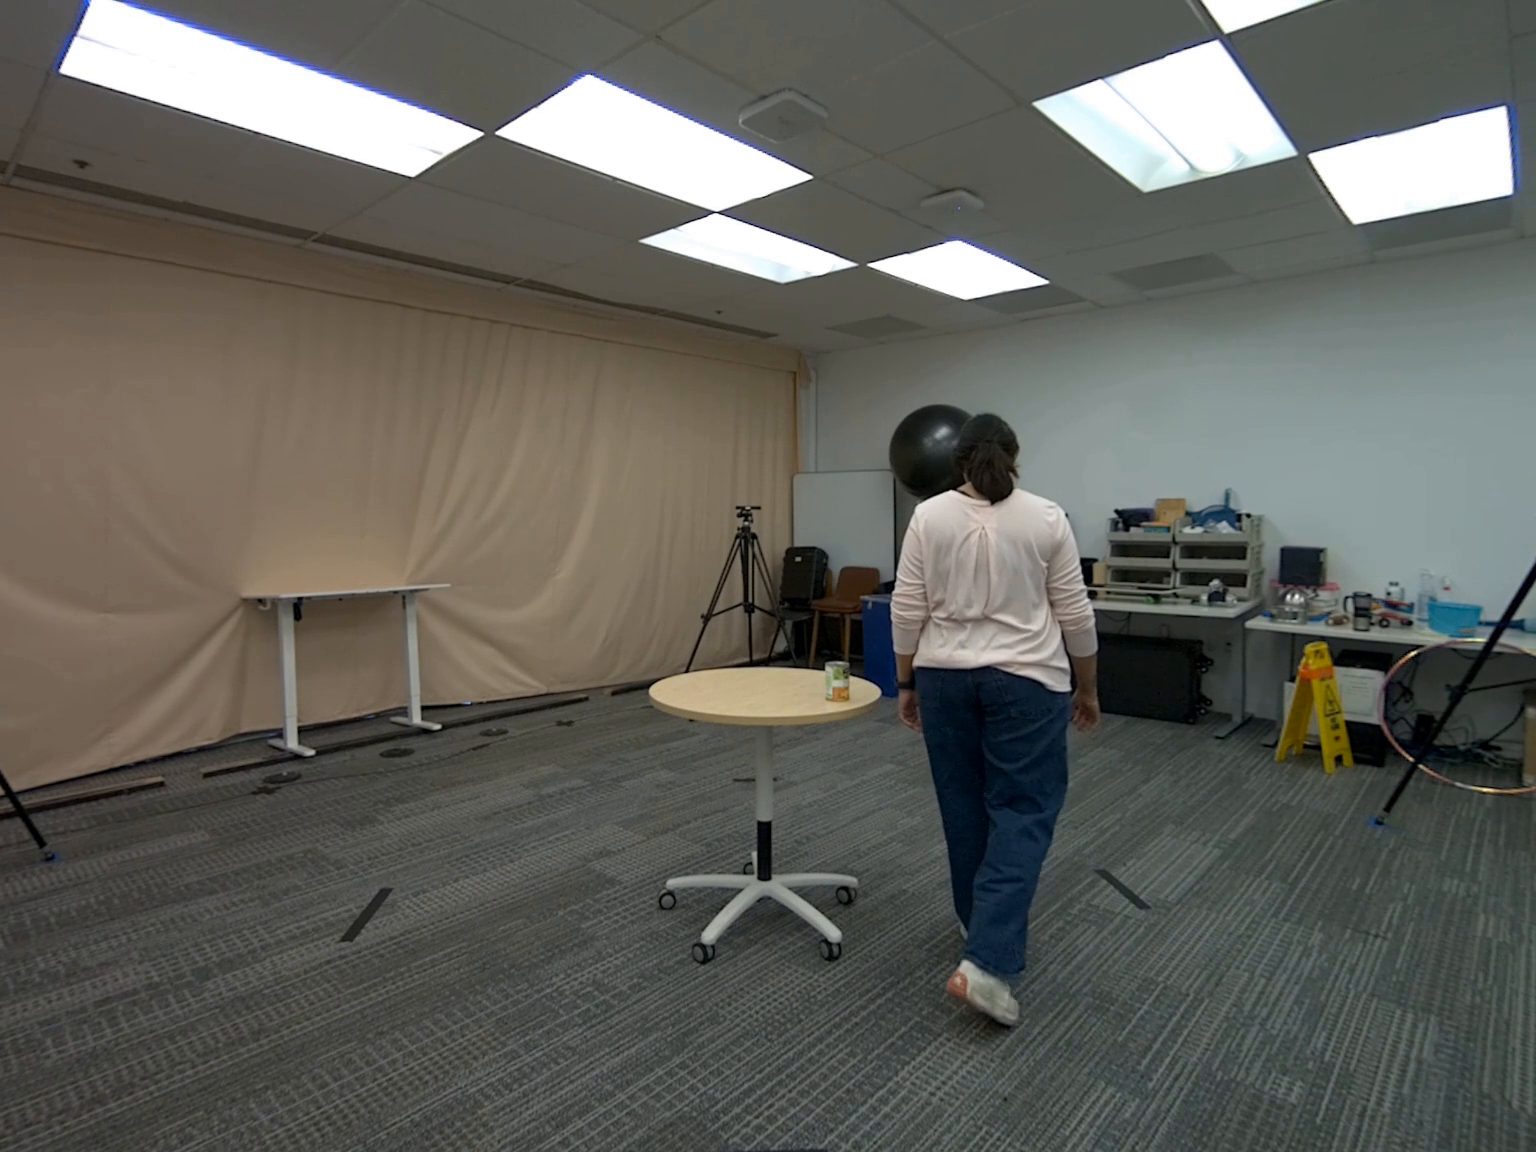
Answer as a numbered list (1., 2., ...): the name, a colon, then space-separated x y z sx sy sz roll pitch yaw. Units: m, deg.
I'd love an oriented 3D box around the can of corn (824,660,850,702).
1. can of corn: 0.225 0.331 2.632 0.074 0.111 0.074 0 2 -2
